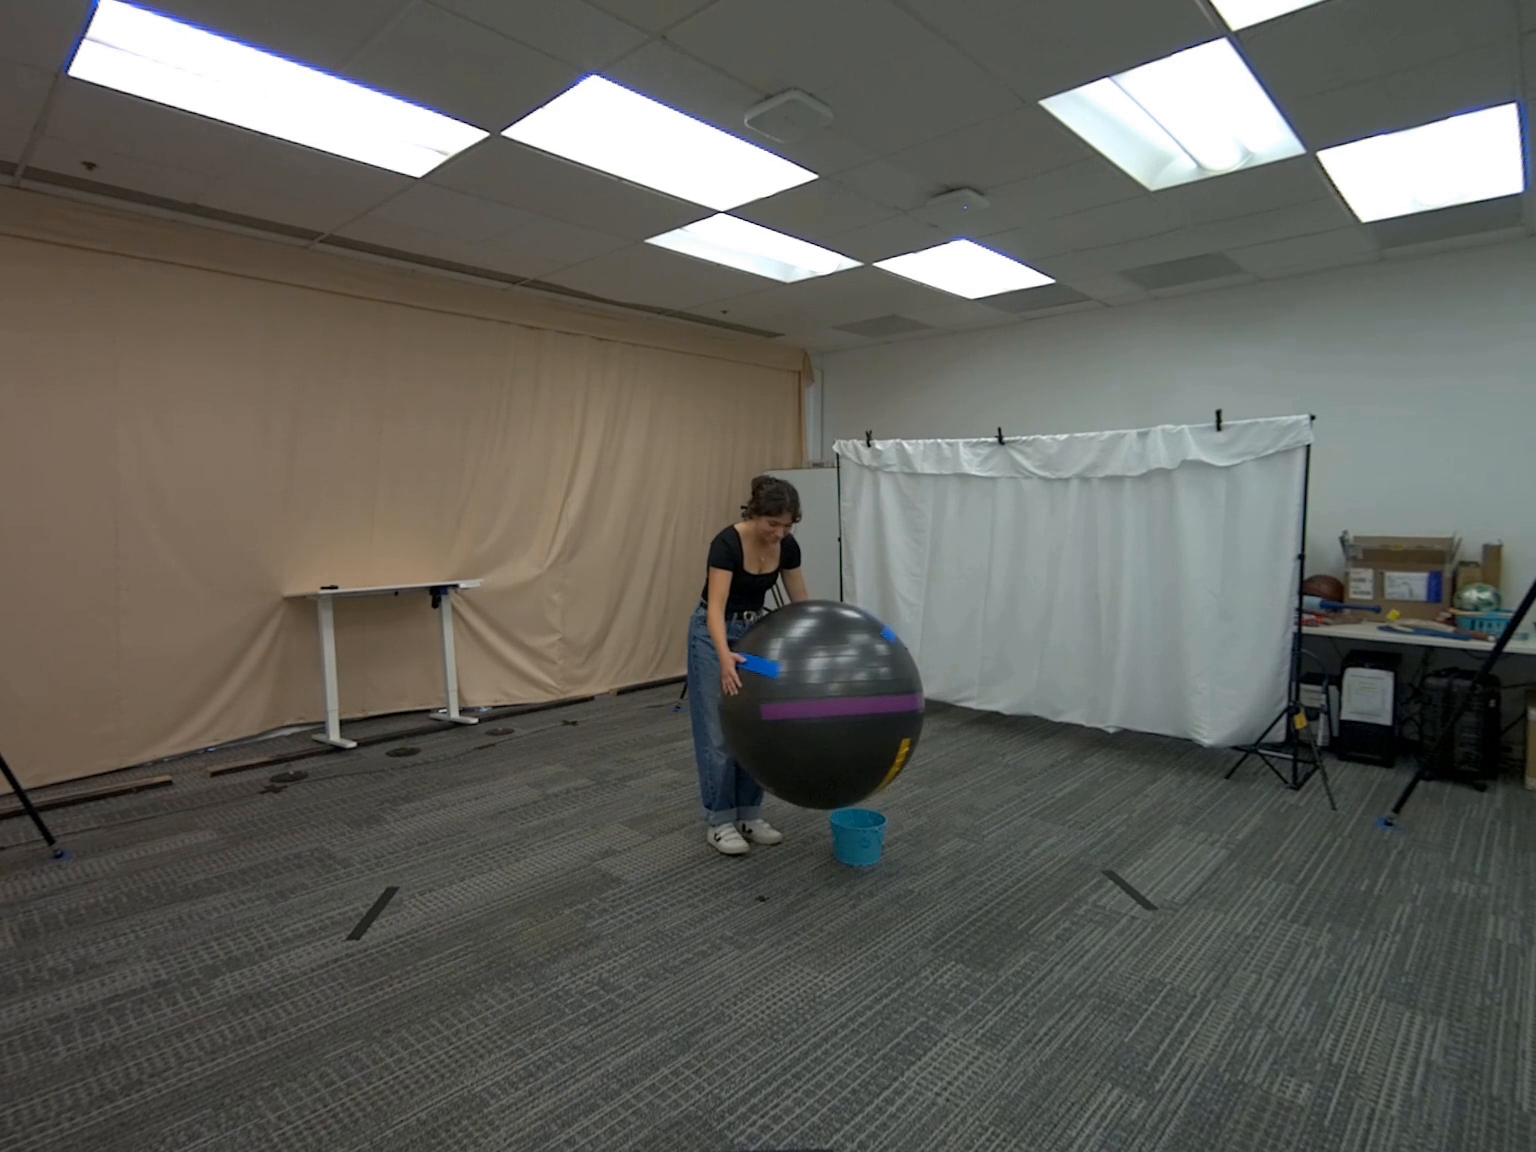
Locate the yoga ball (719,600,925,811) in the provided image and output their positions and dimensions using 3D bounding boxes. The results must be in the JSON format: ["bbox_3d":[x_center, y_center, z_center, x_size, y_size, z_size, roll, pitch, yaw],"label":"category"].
[{"bbox_3d":[0.188,0.475,3.128,0.757,0.756,0.760,0,4,-2],"label":"yoga ball"}]
